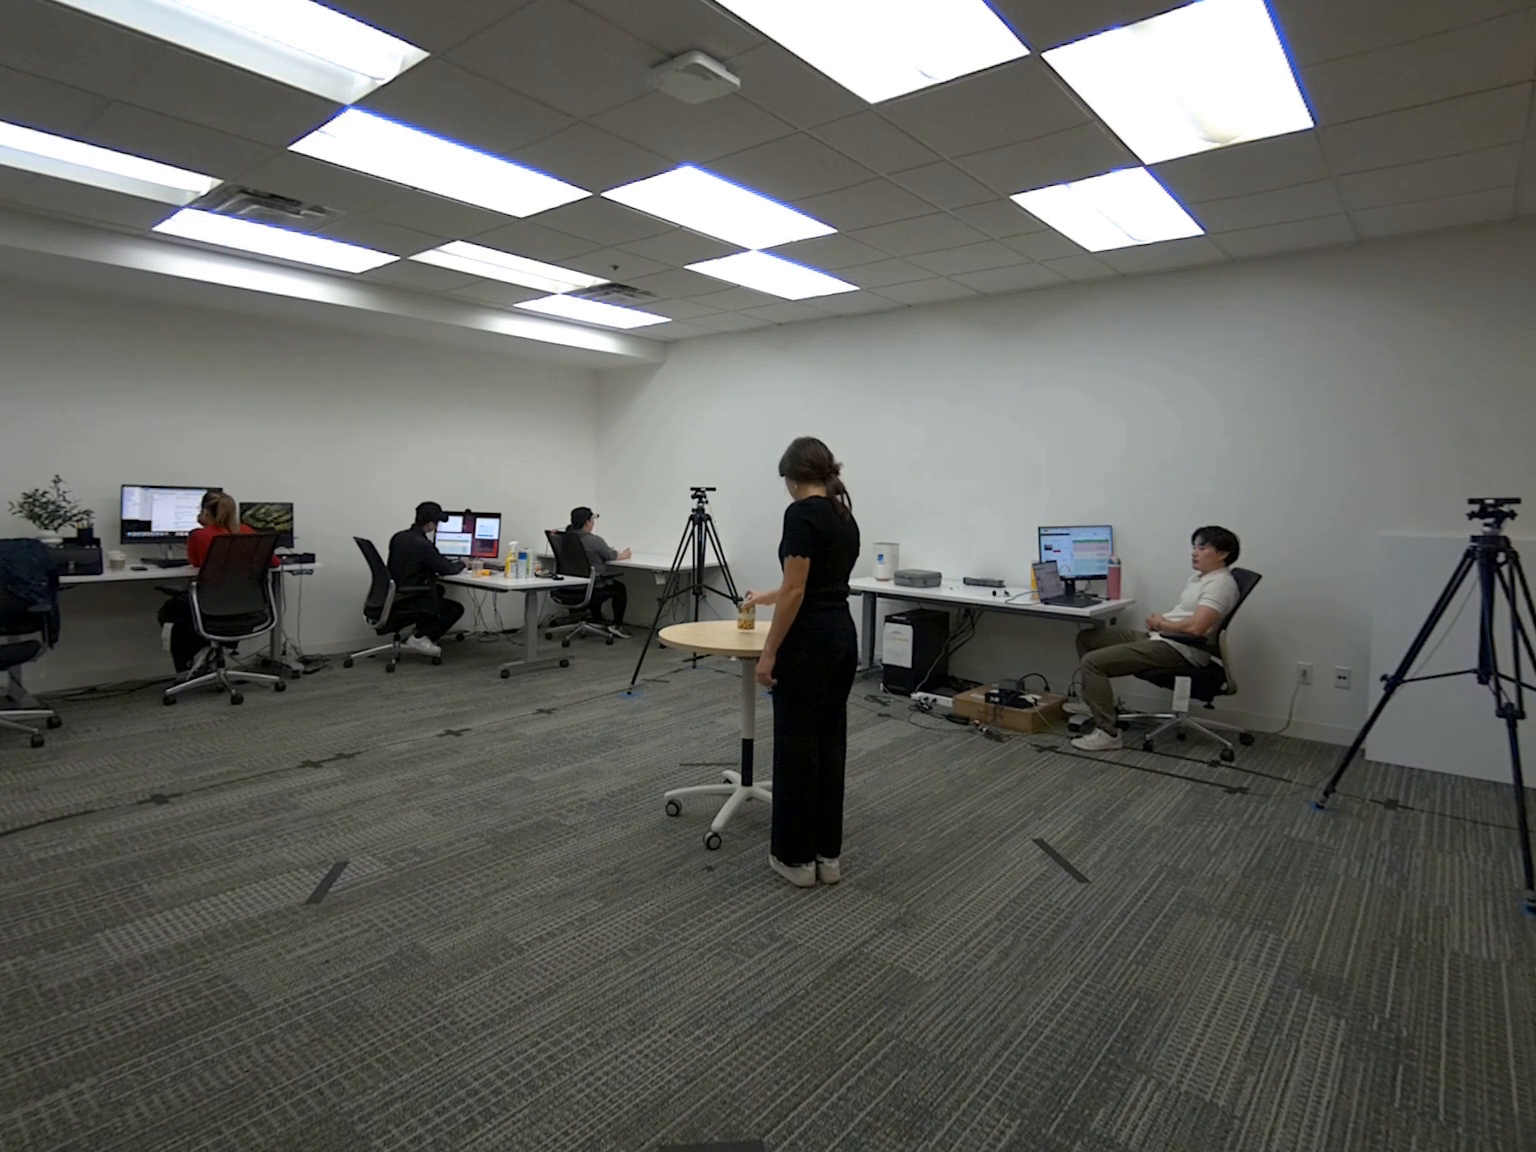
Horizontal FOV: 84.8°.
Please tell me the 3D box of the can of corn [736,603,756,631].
[{"bbox_3d":[-0.099,0.162,3.594,0.074,0.111,0.074,4,3,-2],"label":"can of corn"}]
